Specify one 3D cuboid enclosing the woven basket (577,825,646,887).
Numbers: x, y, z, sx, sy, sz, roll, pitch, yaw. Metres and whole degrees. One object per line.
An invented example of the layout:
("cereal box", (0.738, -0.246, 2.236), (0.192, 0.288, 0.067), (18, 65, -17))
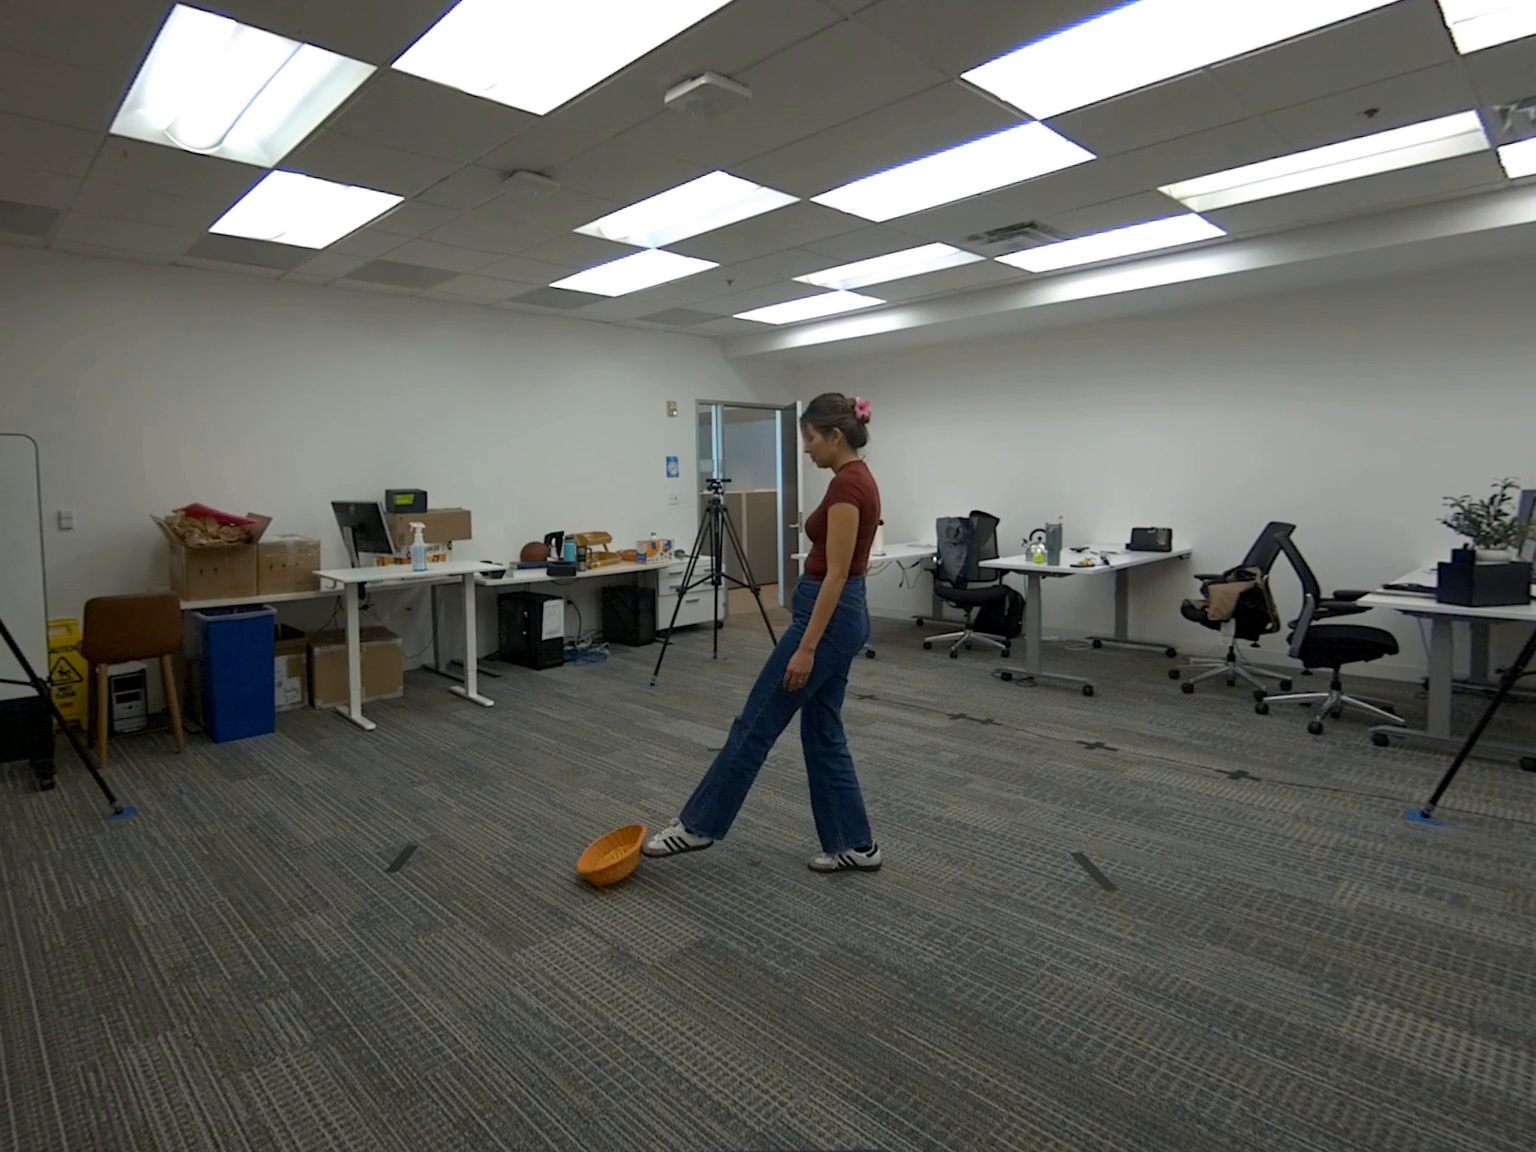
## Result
("woven basket", (-0.540, 1.000, 3.042), (0.253, 0.073, 0.351), (-20, 6, 3))
